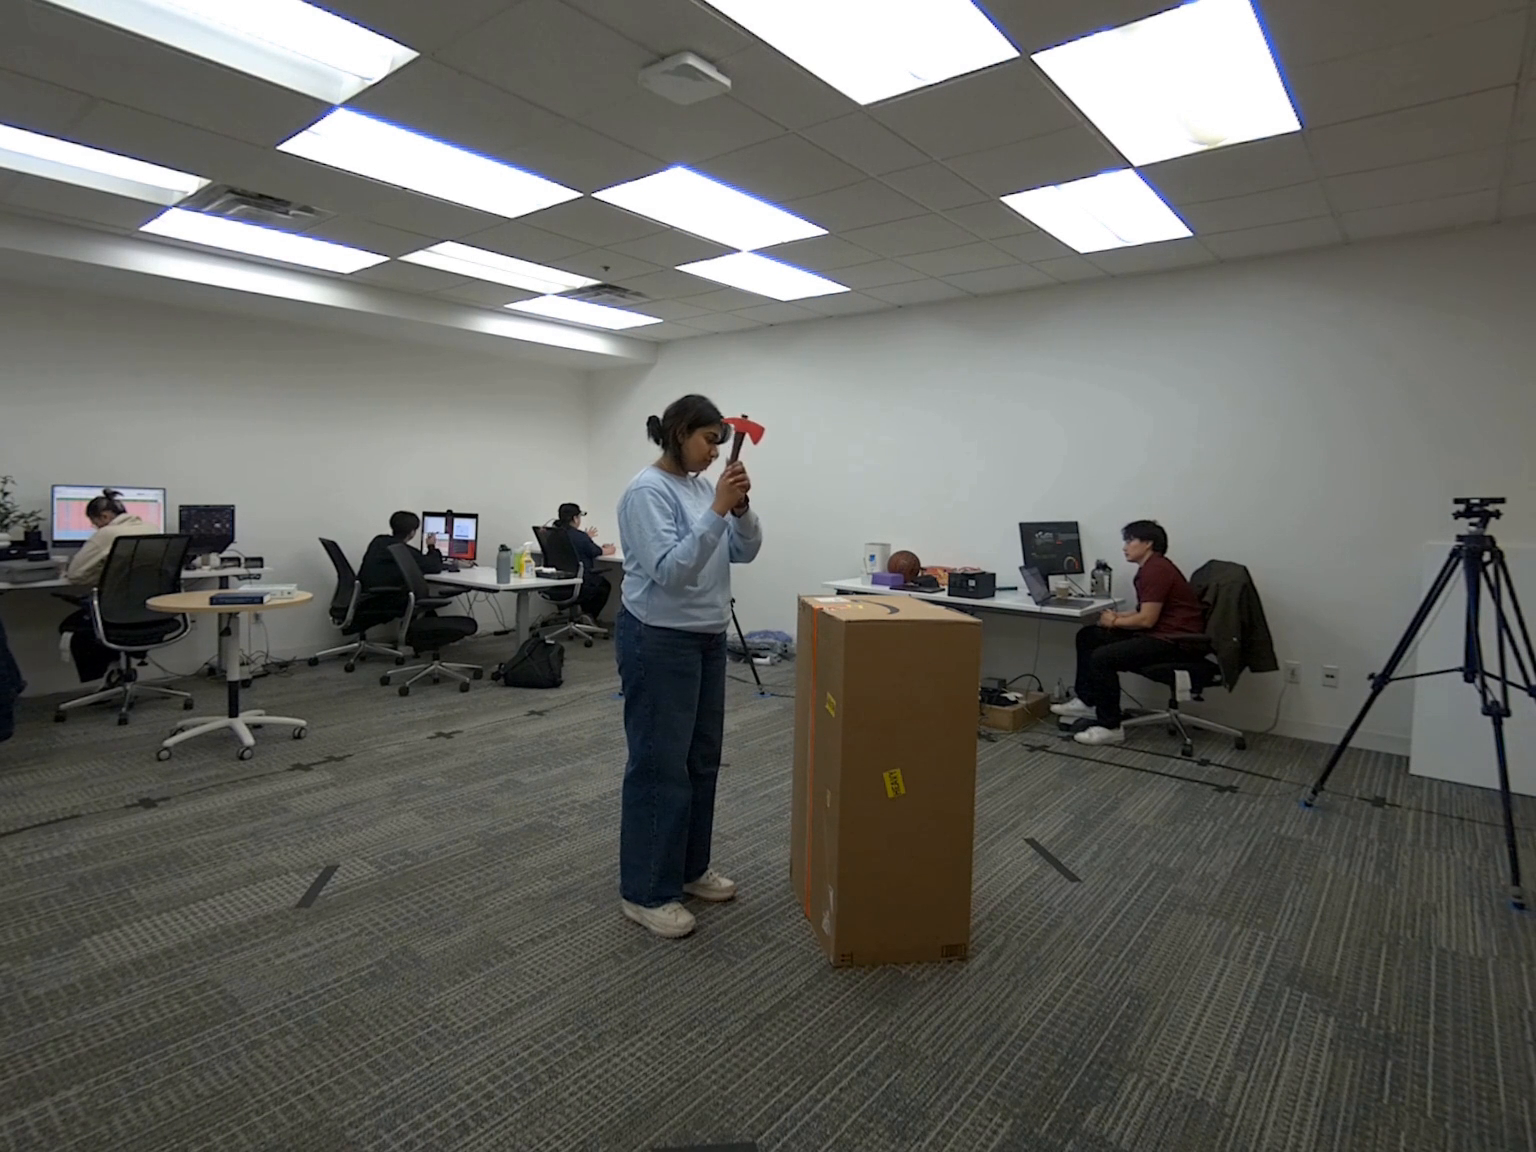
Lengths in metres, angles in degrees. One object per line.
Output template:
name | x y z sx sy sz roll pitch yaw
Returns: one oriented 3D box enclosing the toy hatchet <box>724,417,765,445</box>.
toy hatchet | -0.077 -0.347 2.562 0.132 0.268 0.029 -1 5 9
